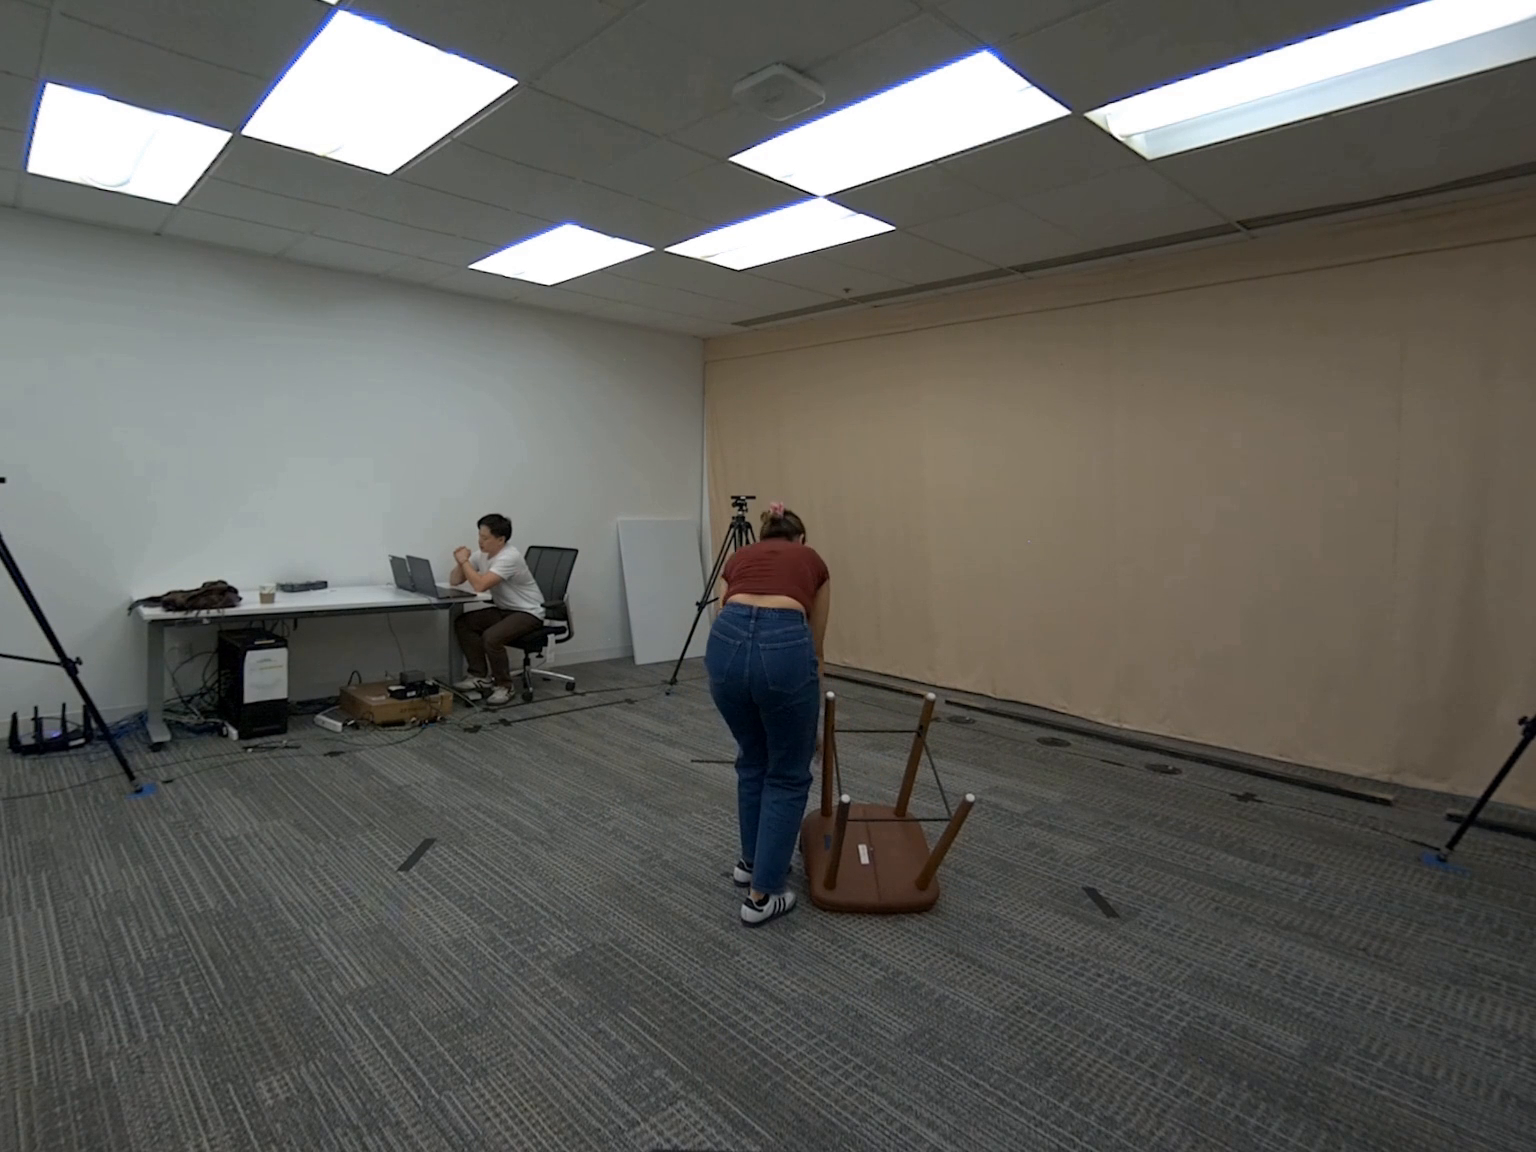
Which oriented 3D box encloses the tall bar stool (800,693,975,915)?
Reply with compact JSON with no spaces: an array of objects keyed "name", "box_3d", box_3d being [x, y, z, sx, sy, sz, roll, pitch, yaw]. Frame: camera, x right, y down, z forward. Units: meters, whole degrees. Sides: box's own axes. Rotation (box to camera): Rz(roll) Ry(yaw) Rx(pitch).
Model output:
[{"name":"tall bar stool","box_3d":[0.357,0.875,2.924,0.454,0.873,0.479,2,38,-6]}]
